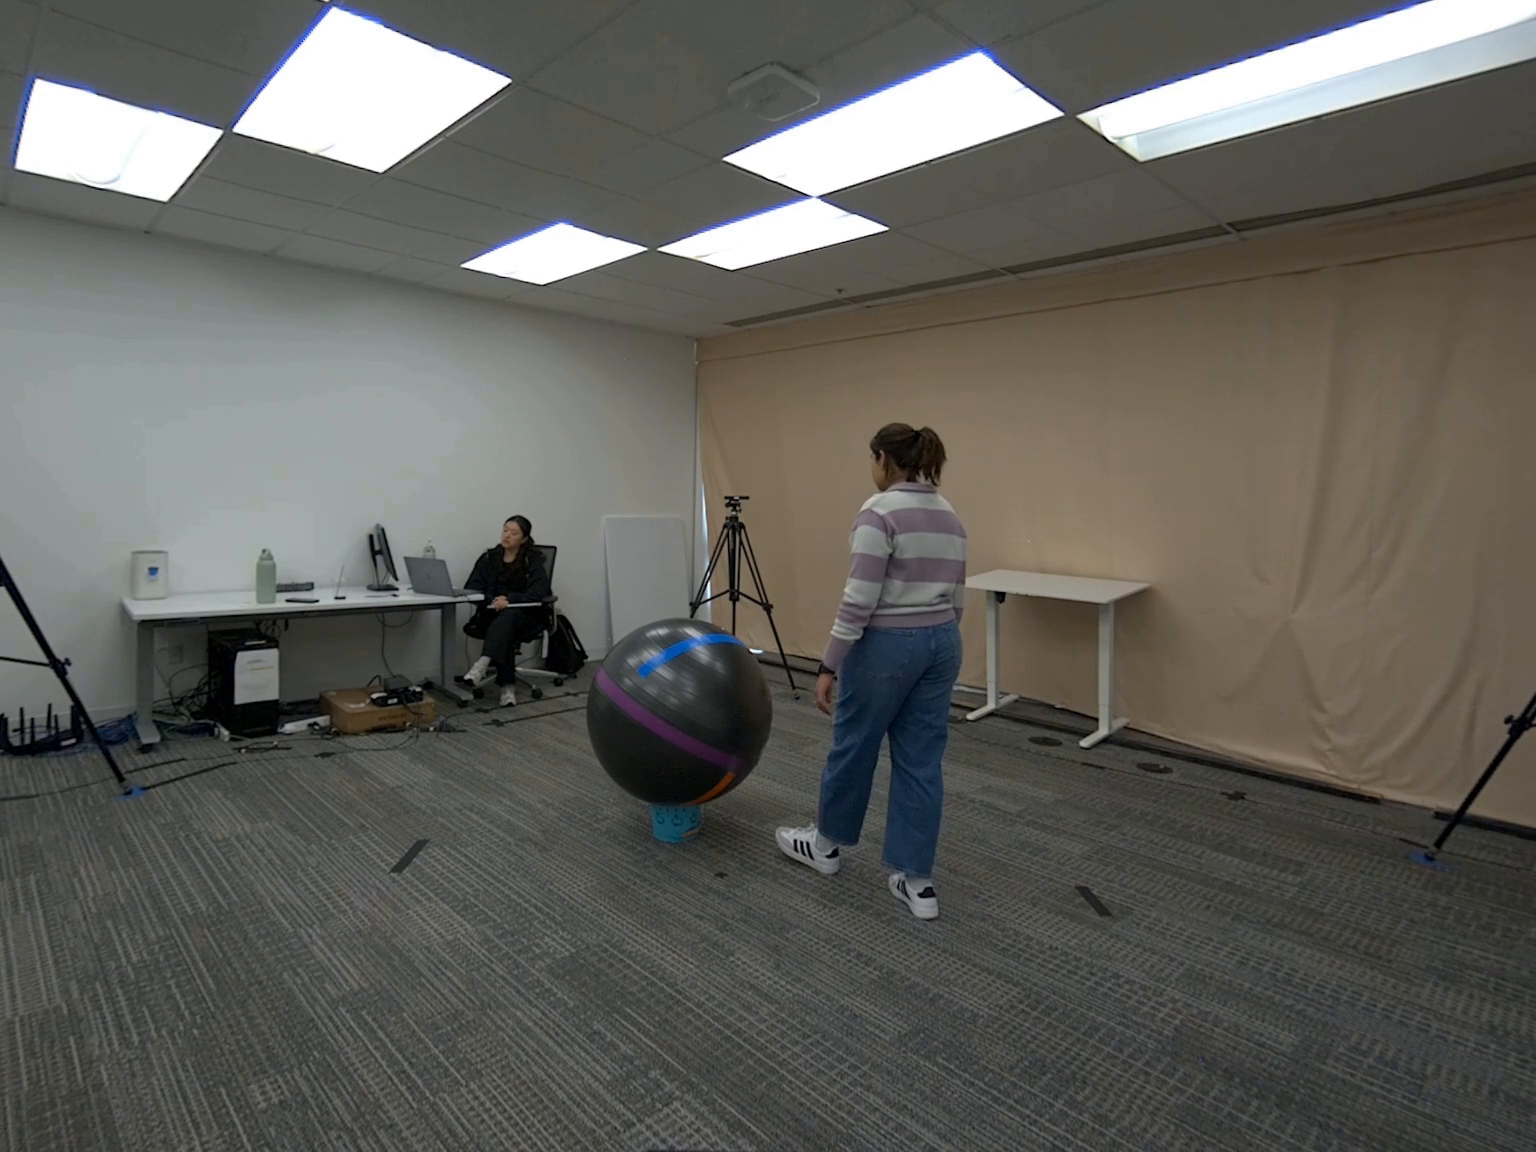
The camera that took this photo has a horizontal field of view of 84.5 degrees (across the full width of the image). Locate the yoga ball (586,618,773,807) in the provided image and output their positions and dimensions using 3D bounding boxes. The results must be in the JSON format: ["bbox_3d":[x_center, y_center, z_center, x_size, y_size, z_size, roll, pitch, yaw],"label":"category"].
[{"bbox_3d":[-0.368,0.559,3.473,0.757,0.756,0.761,1,4,-1],"label":"yoga ball"}]
